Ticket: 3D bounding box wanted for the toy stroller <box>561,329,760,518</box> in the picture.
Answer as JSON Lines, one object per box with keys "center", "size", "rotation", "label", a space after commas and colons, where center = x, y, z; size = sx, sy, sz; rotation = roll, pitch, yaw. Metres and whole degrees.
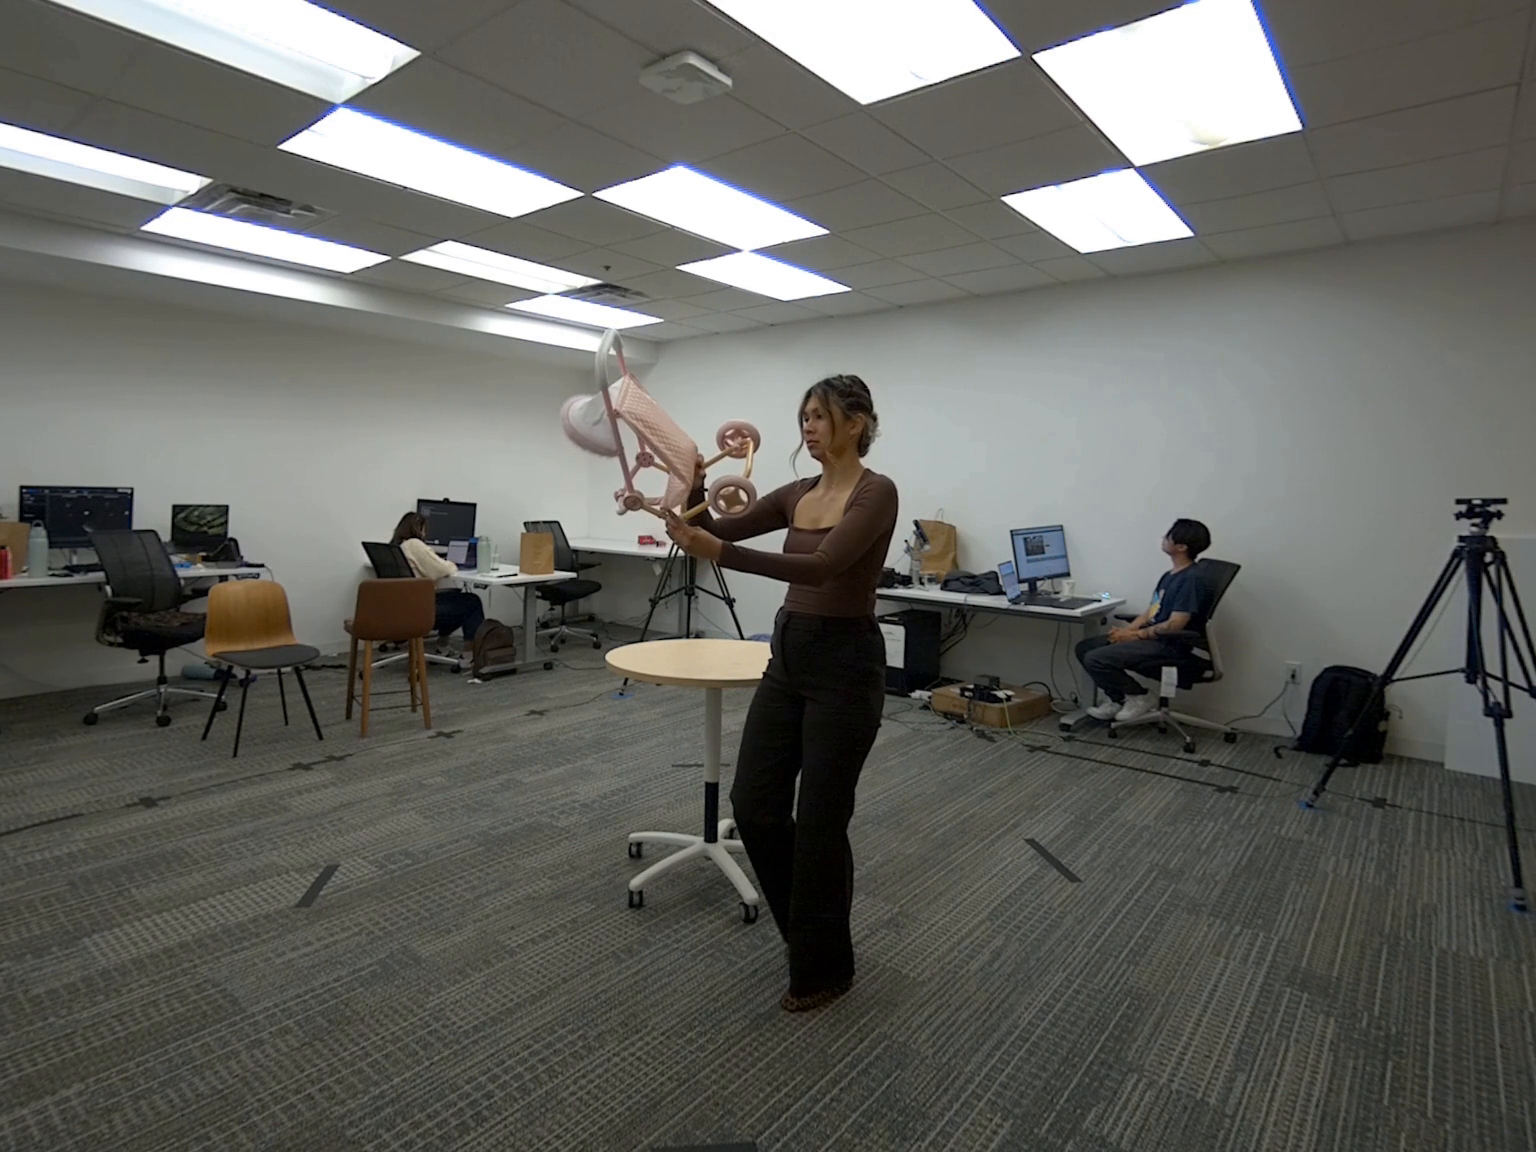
{"center": [-0.271, -0.279, 2.014], "size": [0.520, 0.288, 0.343], "rotation": [35, -53, -22], "label": "toy stroller"}
